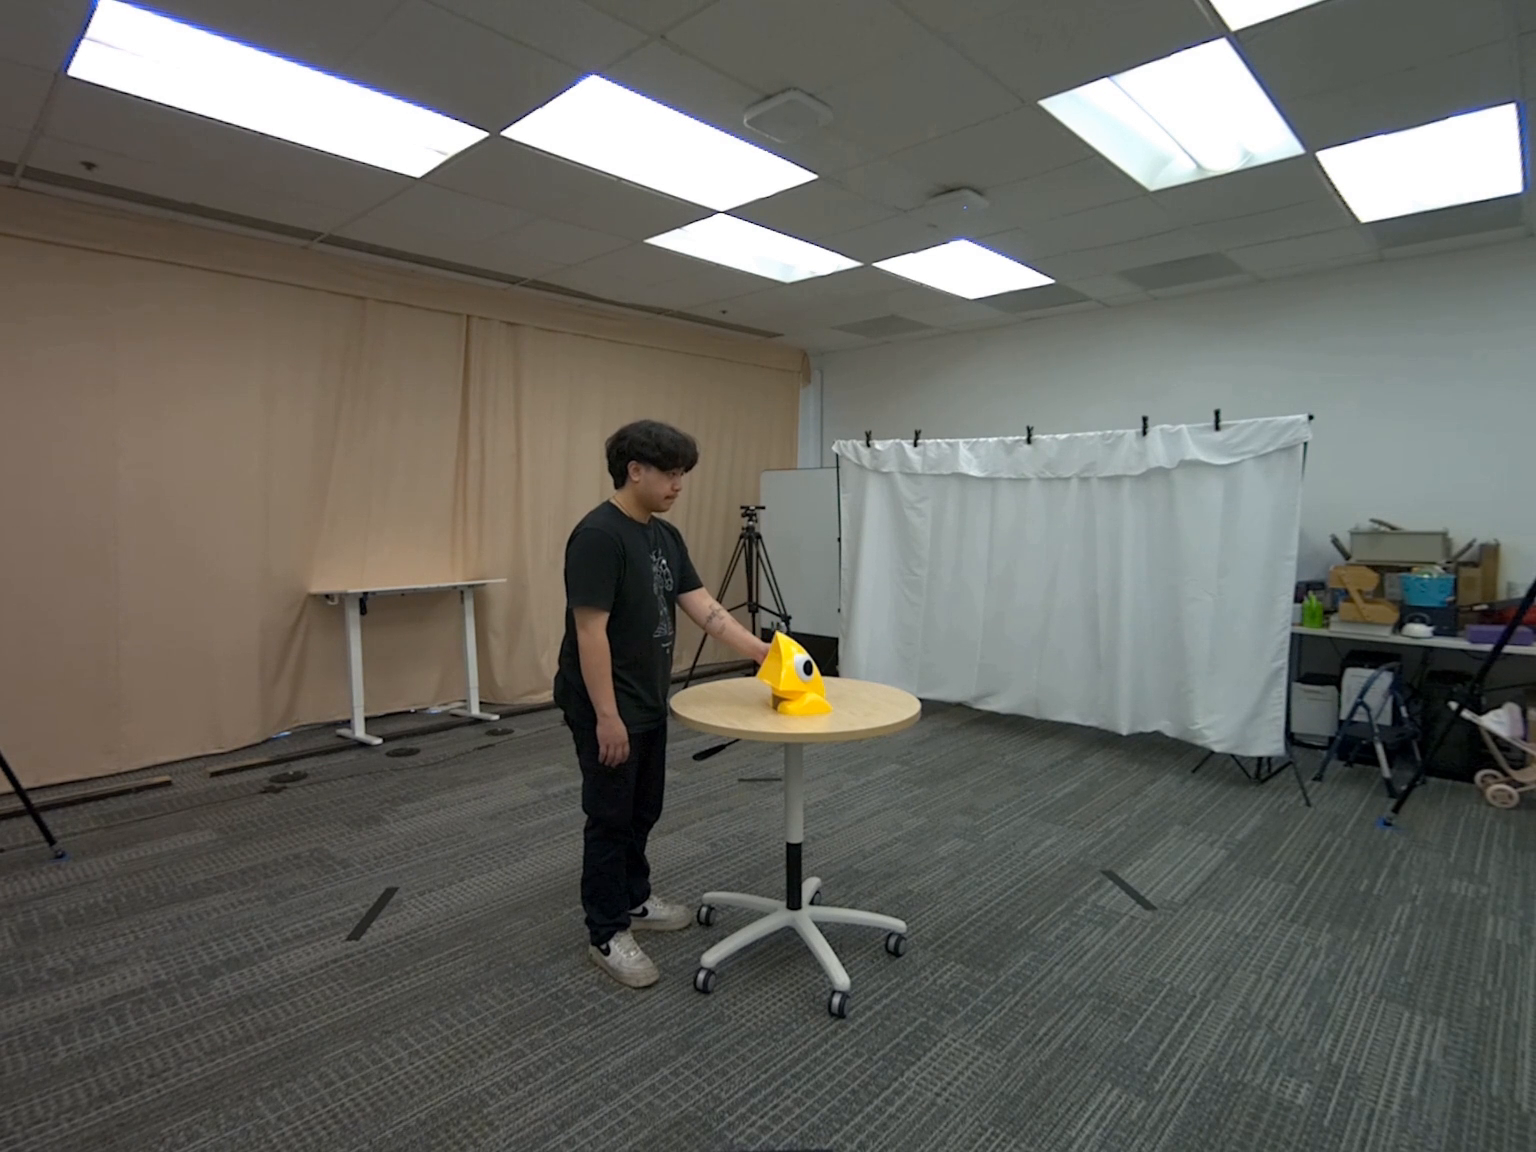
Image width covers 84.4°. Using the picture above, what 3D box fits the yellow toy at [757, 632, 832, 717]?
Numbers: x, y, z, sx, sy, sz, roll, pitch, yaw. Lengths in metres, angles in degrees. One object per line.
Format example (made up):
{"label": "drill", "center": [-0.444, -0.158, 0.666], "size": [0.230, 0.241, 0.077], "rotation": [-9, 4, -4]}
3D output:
{"label": "yellow toy", "center": [0.087, 0.280, 2.485], "size": [0.189, 0.230, 0.209], "rotation": [-1, 4, -18]}
